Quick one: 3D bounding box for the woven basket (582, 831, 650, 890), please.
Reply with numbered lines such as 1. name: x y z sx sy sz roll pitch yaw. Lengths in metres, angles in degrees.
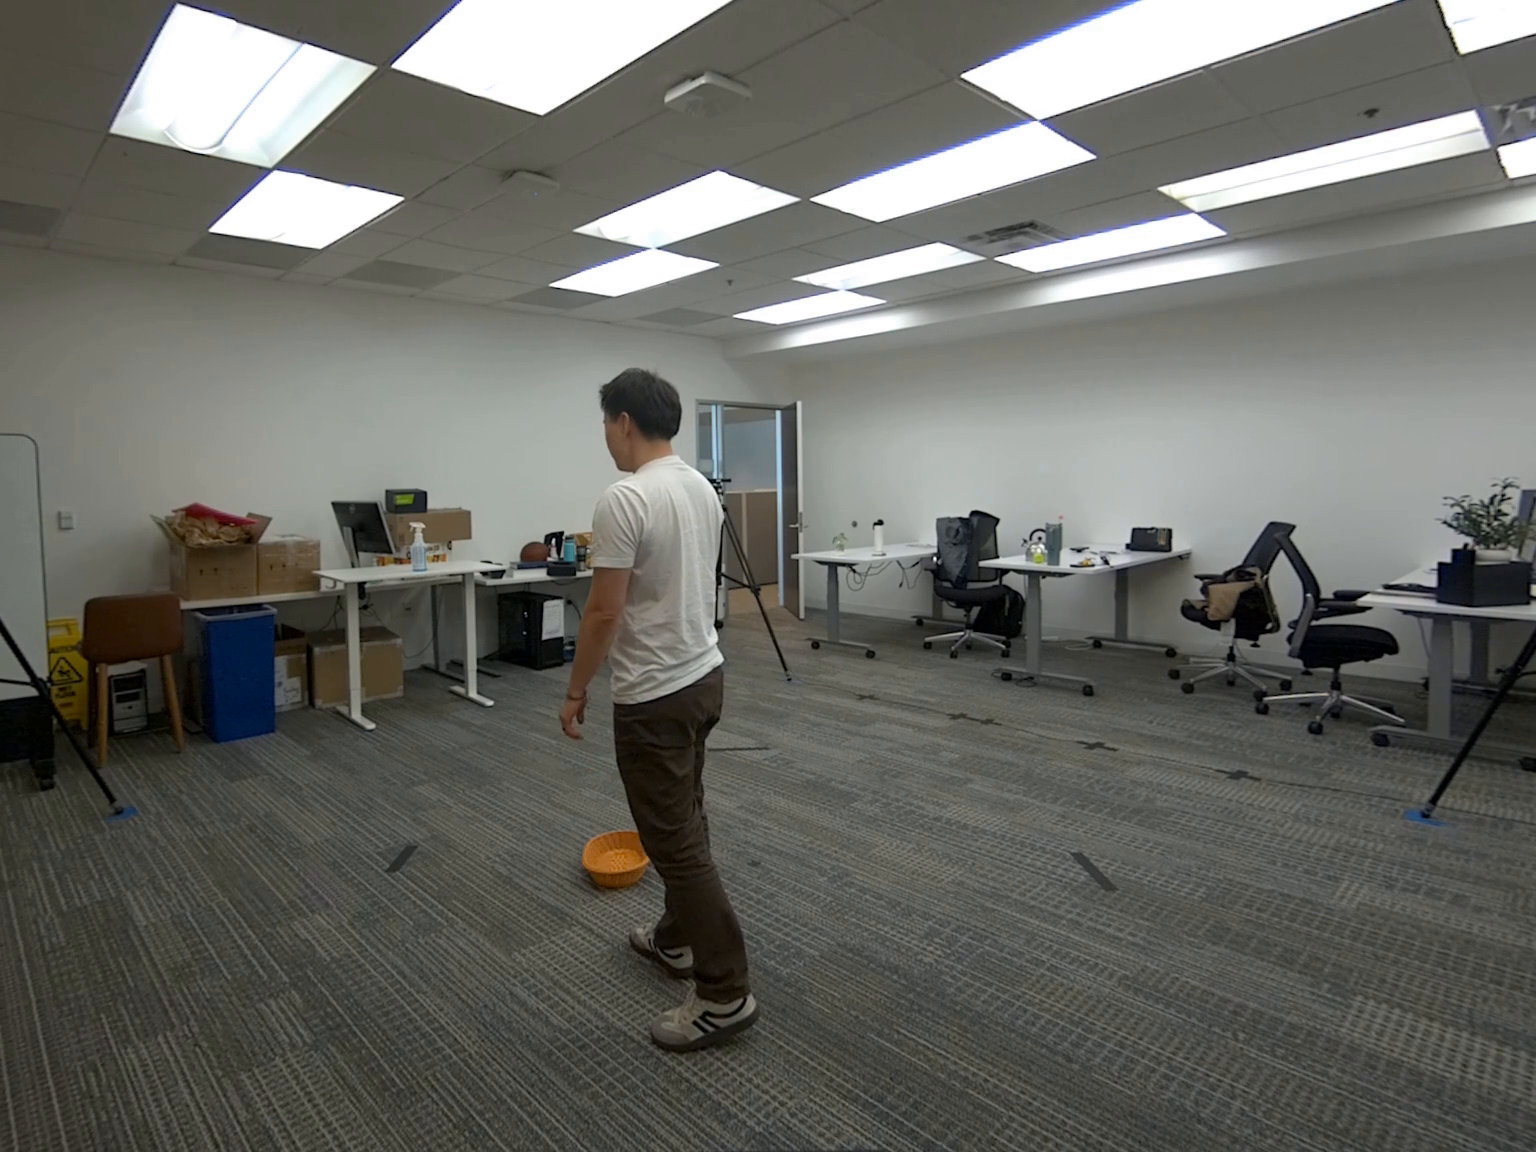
1. woven basket: -0.540 1.017 3.070 0.252 0.073 0.353 -2 7 -4
